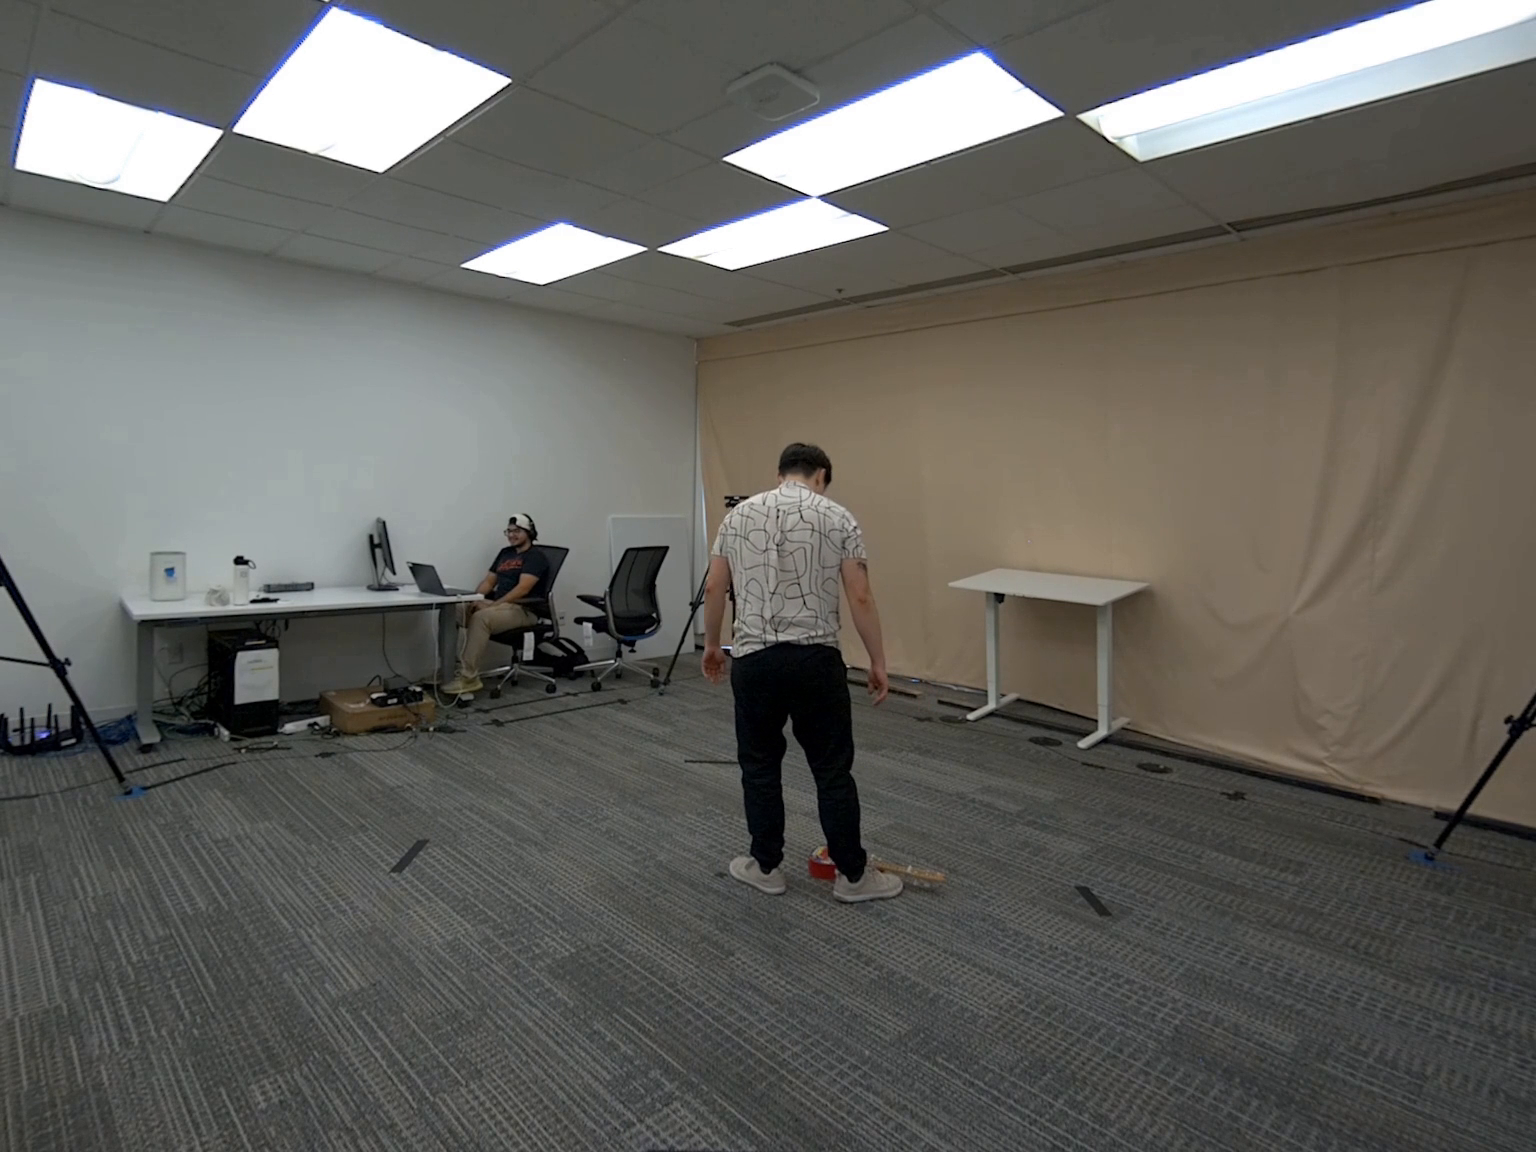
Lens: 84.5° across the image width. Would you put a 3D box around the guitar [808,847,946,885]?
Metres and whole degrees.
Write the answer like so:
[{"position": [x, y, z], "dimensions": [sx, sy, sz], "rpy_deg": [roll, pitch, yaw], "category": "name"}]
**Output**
[{"position": [0.373, 1.082, 3.072], "dimensions": [0.509, 0.070, 0.189], "rpy_deg": [4, 5, 35], "category": "guitar"}]
